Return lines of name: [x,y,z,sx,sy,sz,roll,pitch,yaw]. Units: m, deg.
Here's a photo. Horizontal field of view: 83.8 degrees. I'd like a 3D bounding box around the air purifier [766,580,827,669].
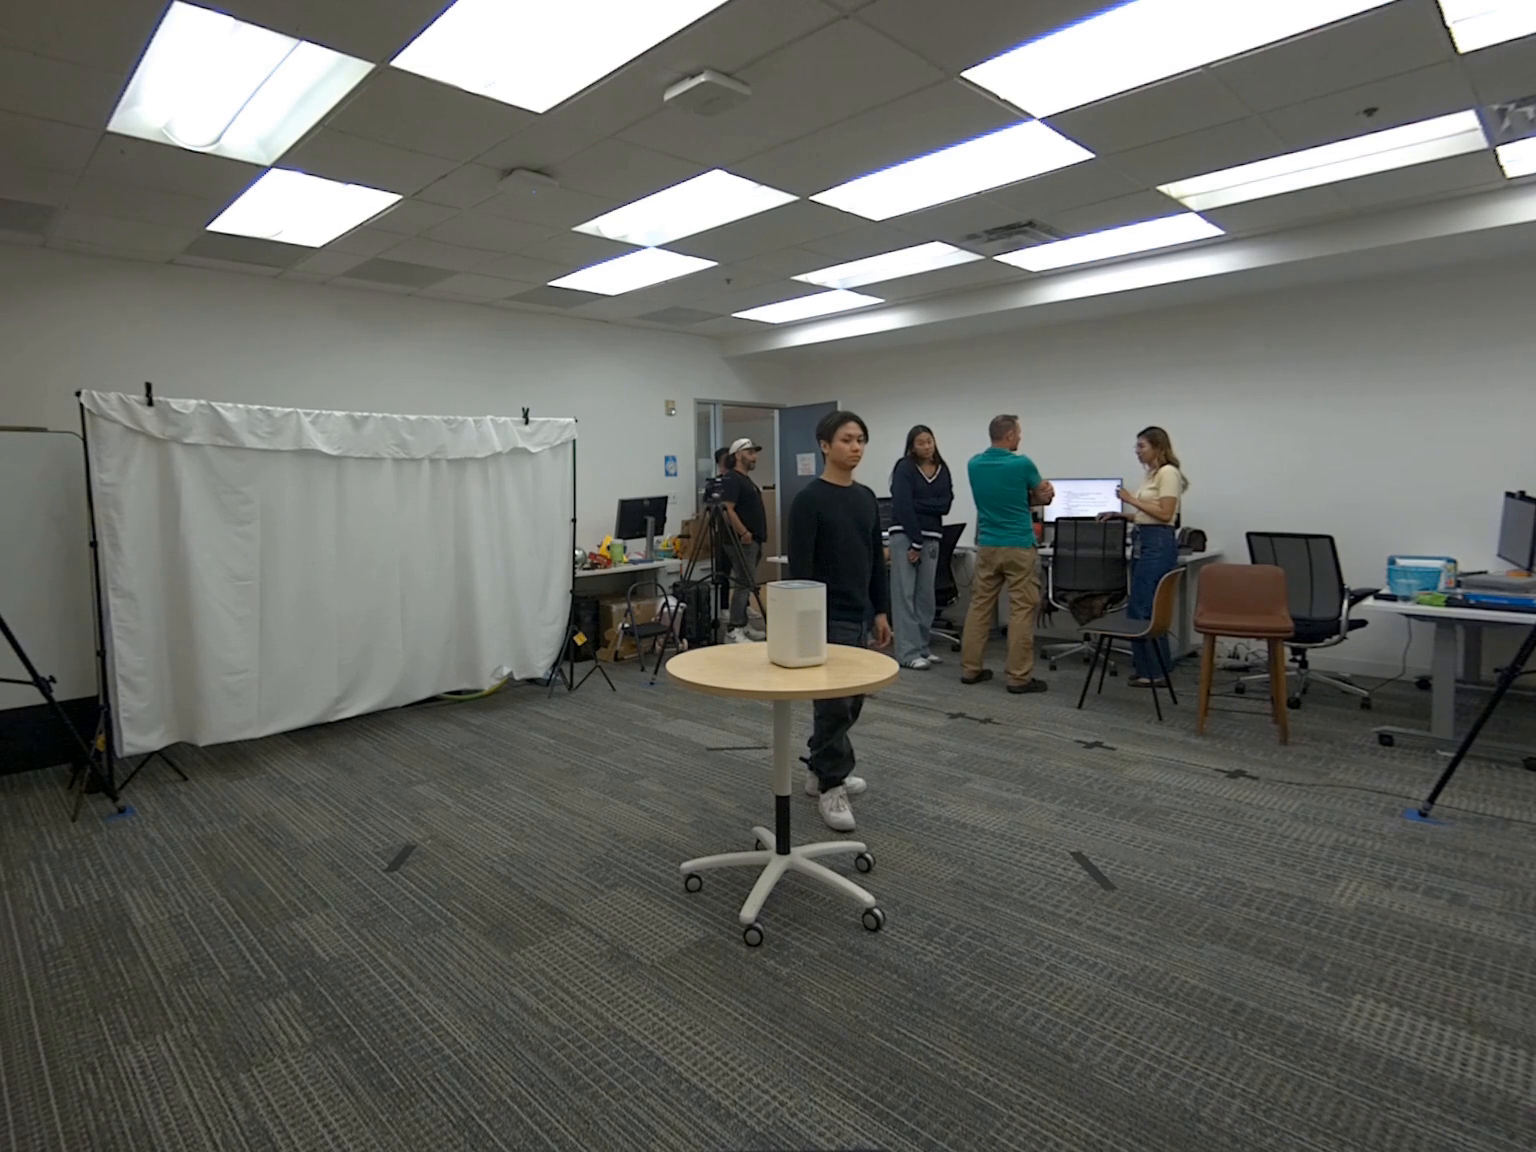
air purifier: [0.094,0.154,2.819,0.168,0.265,0.175,-1,3,-26]
